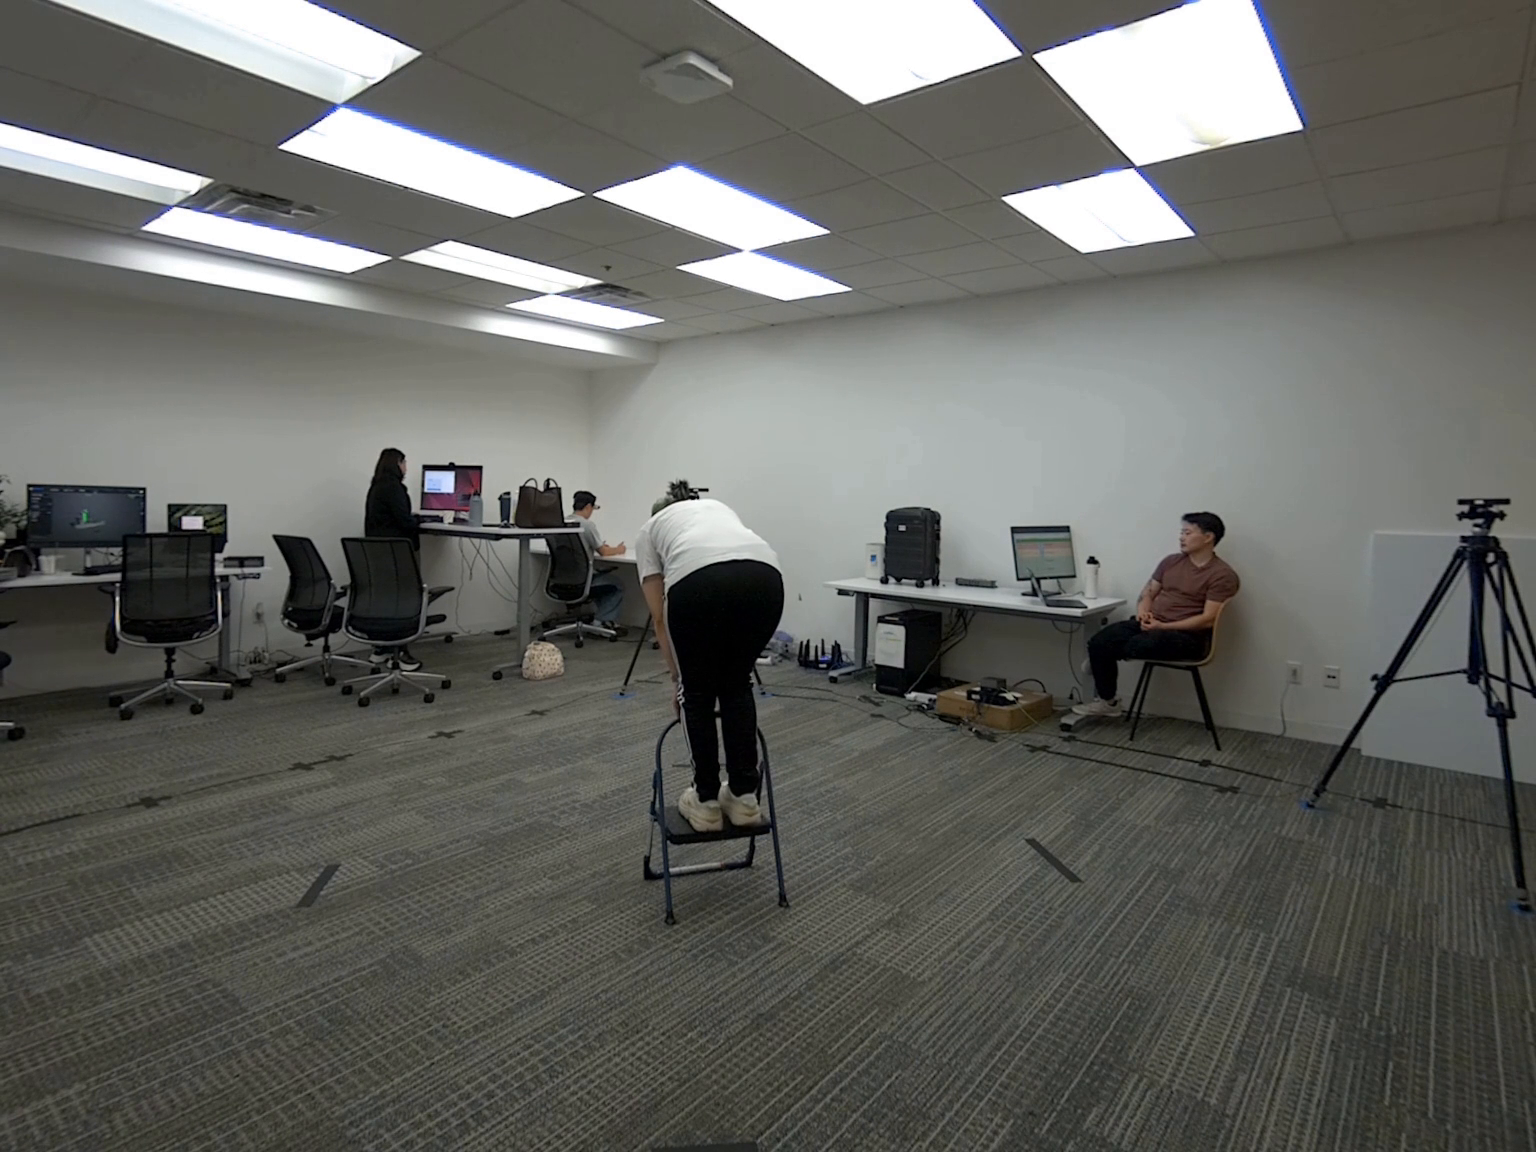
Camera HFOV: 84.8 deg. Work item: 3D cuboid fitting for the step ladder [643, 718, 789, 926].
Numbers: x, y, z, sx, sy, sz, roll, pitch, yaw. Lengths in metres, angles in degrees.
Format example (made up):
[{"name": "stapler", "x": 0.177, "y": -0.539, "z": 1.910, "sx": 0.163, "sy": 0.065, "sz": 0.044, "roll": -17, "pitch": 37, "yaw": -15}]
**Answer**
[{"name": "step ladder", "x": -0.193, "y": 0.790, "z": 2.923, "sx": 0.421, "sy": 0.604, "sz": 0.358, "roll": 0, "pitch": 3, "yaw": -22}]
